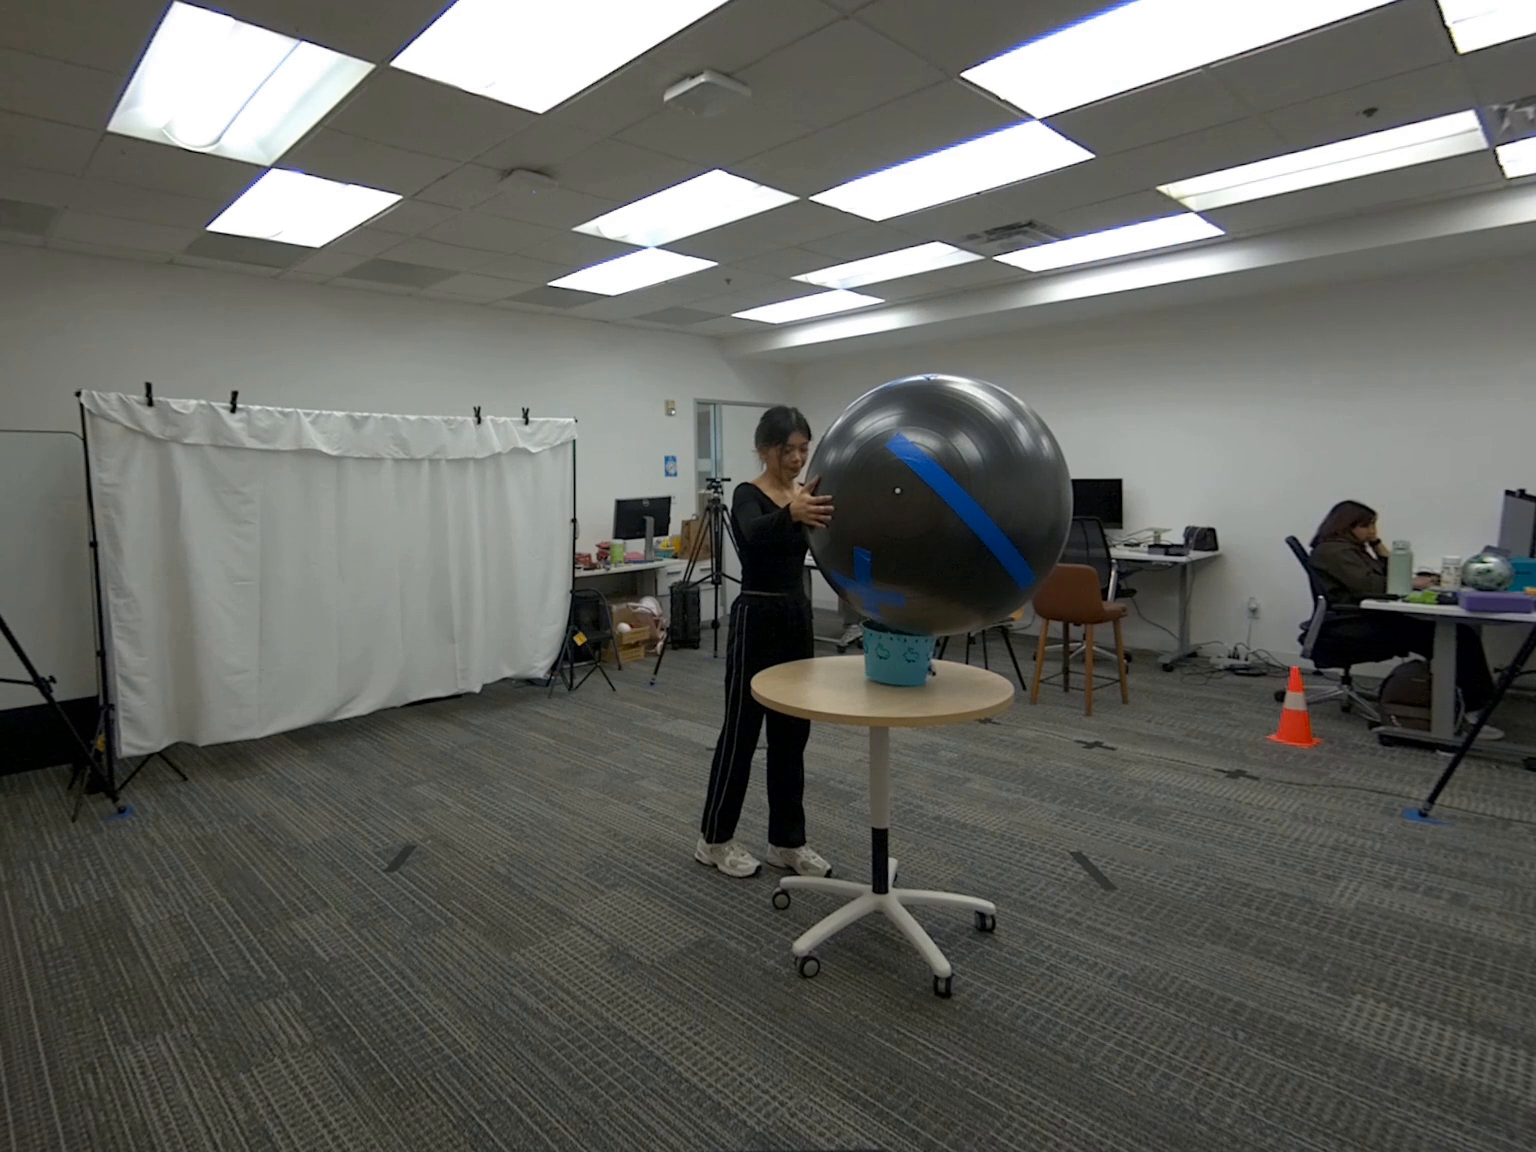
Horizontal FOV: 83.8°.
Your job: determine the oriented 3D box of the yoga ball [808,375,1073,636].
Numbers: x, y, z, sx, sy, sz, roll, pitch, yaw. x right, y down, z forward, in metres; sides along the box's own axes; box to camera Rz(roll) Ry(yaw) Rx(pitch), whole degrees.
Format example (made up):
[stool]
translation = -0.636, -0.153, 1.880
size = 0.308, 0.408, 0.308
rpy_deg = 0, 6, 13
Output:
[yoga ball]
translation = 0.485, -0.199, 2.480
size = 0.757, 0.755, 0.762
rpy_deg = -1, 5, -2
